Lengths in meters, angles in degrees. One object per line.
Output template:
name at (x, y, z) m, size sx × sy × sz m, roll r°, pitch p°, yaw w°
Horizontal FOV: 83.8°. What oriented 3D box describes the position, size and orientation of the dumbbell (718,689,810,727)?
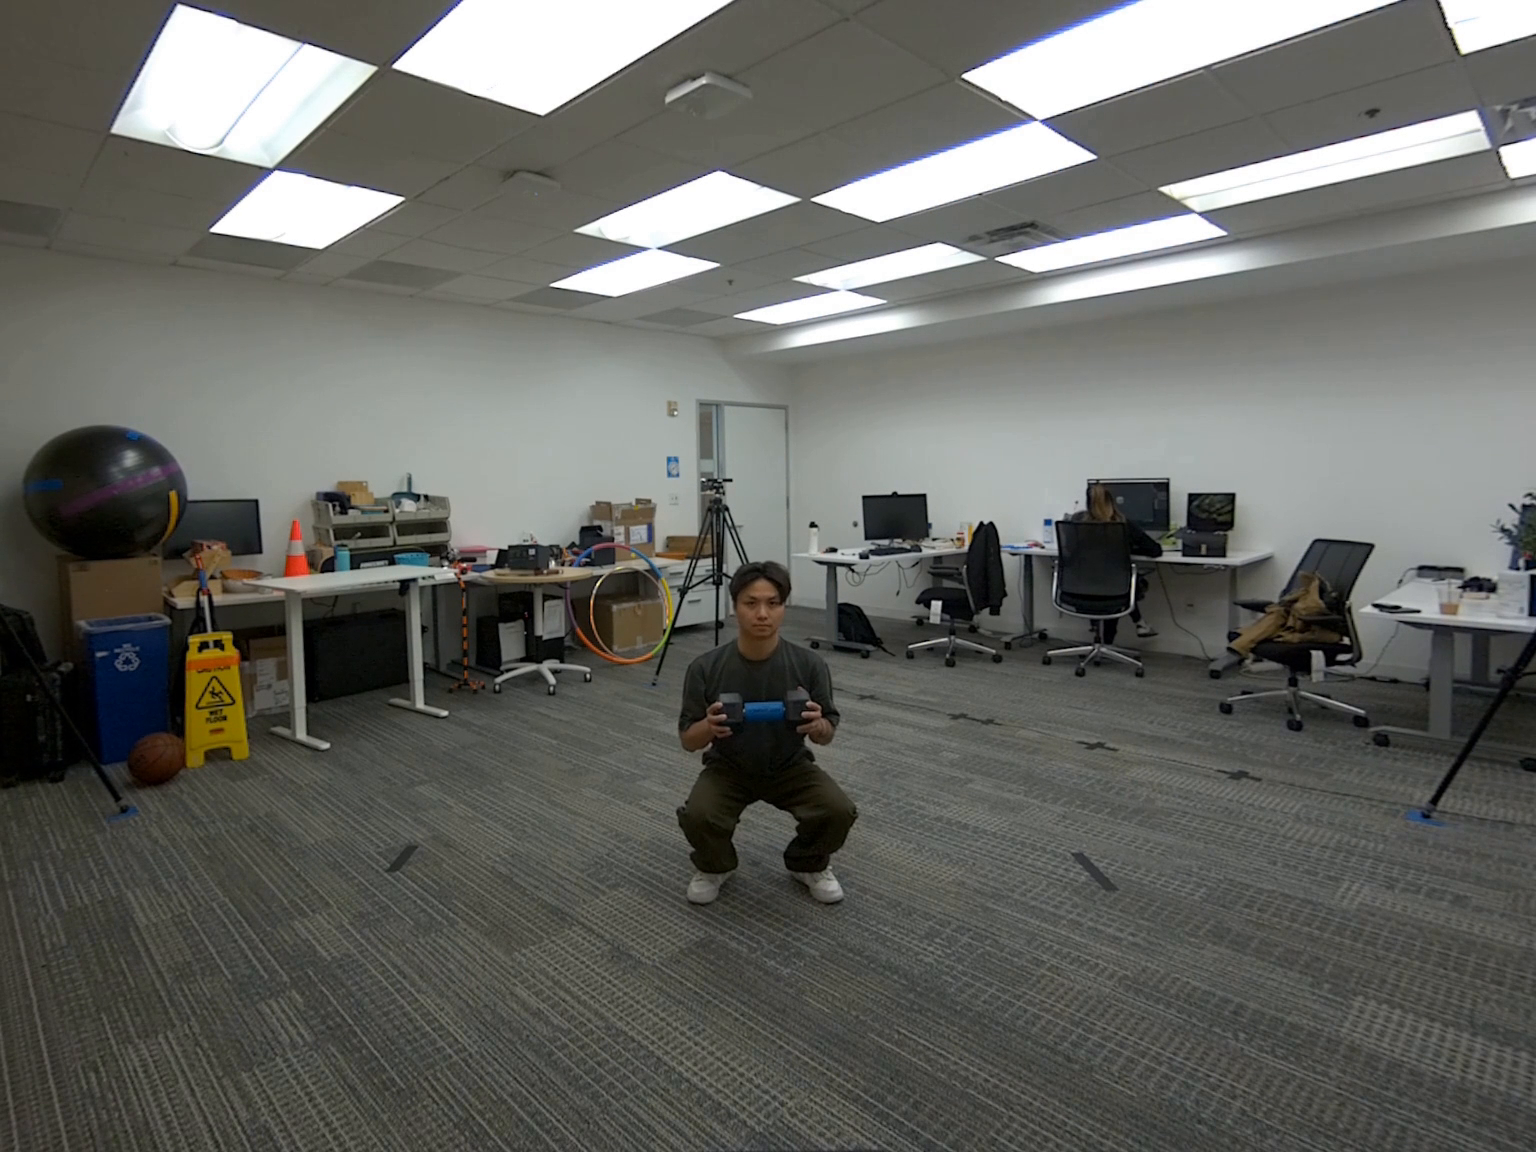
dumbbell at (-0.001, 0.430, 2.690) m, size 0.294 × 0.119 × 0.112 m, roll -2°, pitch 46°, yaw 0°
